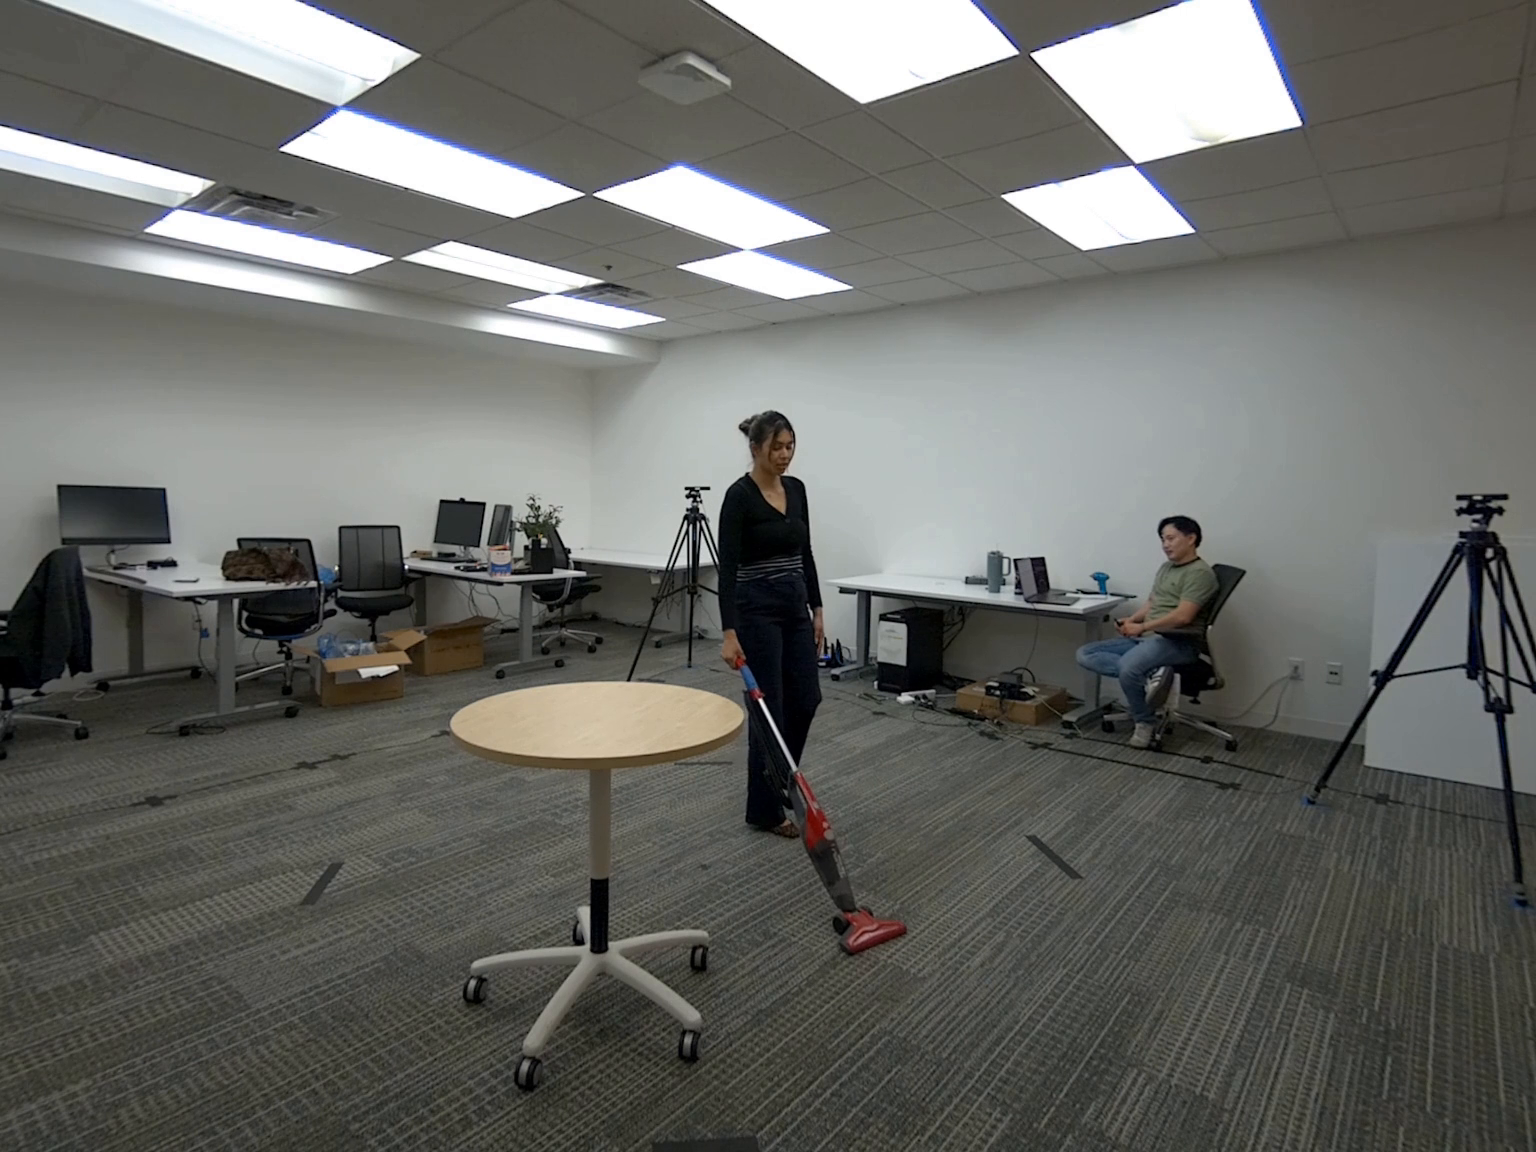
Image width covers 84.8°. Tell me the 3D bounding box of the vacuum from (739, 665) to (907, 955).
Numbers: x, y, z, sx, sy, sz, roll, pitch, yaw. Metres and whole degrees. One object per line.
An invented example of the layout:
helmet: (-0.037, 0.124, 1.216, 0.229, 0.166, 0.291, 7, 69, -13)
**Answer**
vacuum: (0.084, 0.715, 2.946, 0.244, 0.143, 1.089, 3, 45, -41)
